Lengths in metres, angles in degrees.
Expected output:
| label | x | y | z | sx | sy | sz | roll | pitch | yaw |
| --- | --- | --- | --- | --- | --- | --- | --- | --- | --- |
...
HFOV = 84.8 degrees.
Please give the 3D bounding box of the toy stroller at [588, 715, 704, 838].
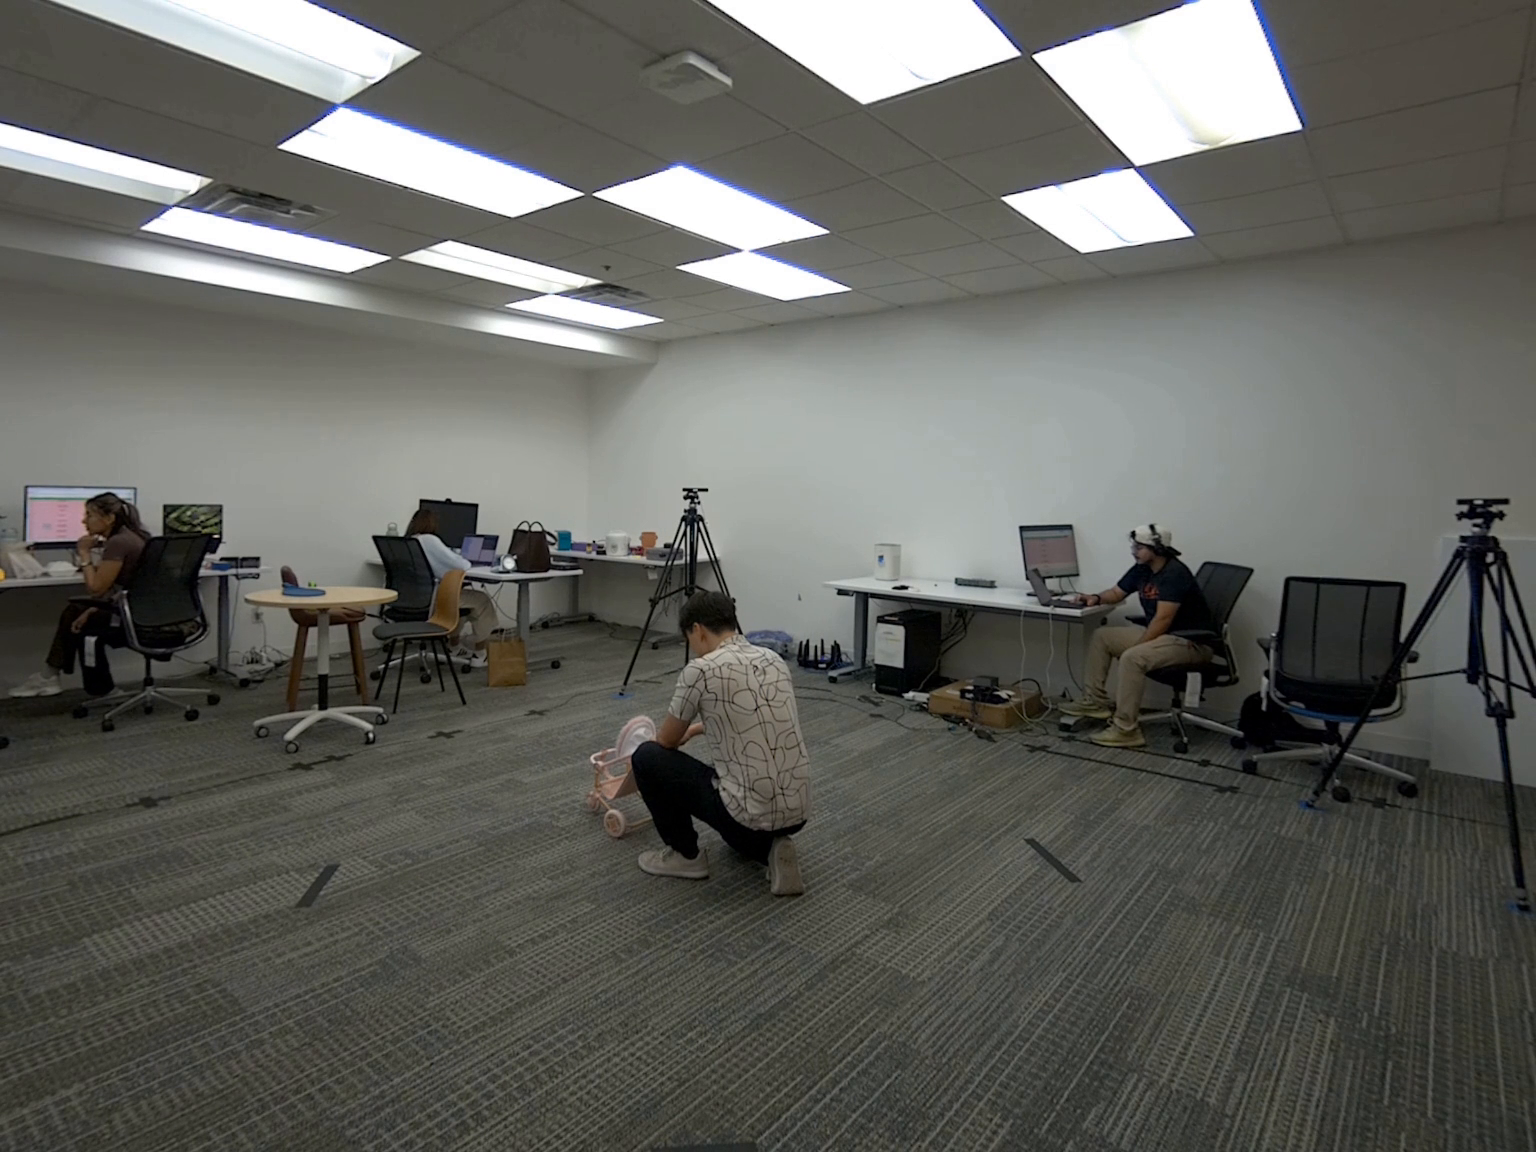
| label | x | y | z | sx | sy | sz | roll | pitch | yaw |
| --- | --- | --- | --- | --- | --- | --- | --- | --- | --- |
| toy stroller | -0.584 | 0.802 | 3.506 | 0.355 | 0.530 | 0.272 | 30 | 18 | 36 |
